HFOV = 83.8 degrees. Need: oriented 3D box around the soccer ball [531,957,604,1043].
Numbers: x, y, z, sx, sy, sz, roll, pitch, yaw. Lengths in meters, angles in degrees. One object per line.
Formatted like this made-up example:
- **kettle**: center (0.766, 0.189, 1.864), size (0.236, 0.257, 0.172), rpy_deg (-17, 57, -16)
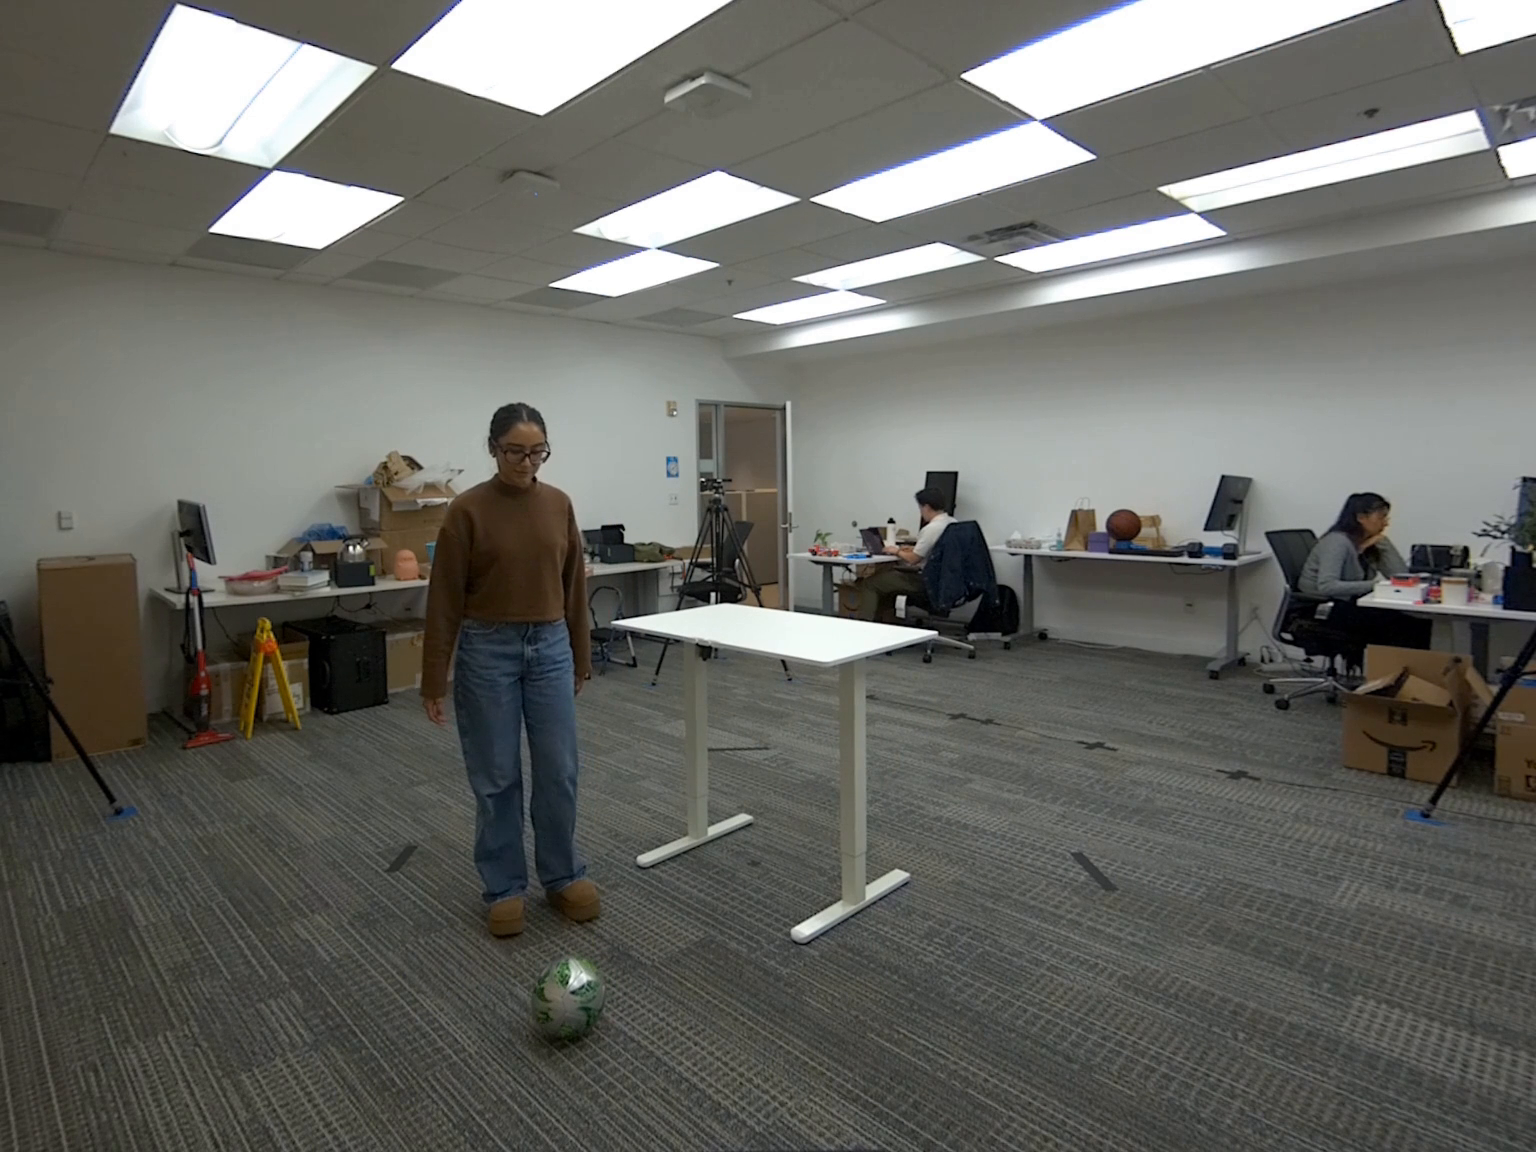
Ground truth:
- **soccer ball**: center (-0.496, 1.069, 2.178), size (0.187, 0.187, 0.188), rpy_deg (-1, 5, -2)
